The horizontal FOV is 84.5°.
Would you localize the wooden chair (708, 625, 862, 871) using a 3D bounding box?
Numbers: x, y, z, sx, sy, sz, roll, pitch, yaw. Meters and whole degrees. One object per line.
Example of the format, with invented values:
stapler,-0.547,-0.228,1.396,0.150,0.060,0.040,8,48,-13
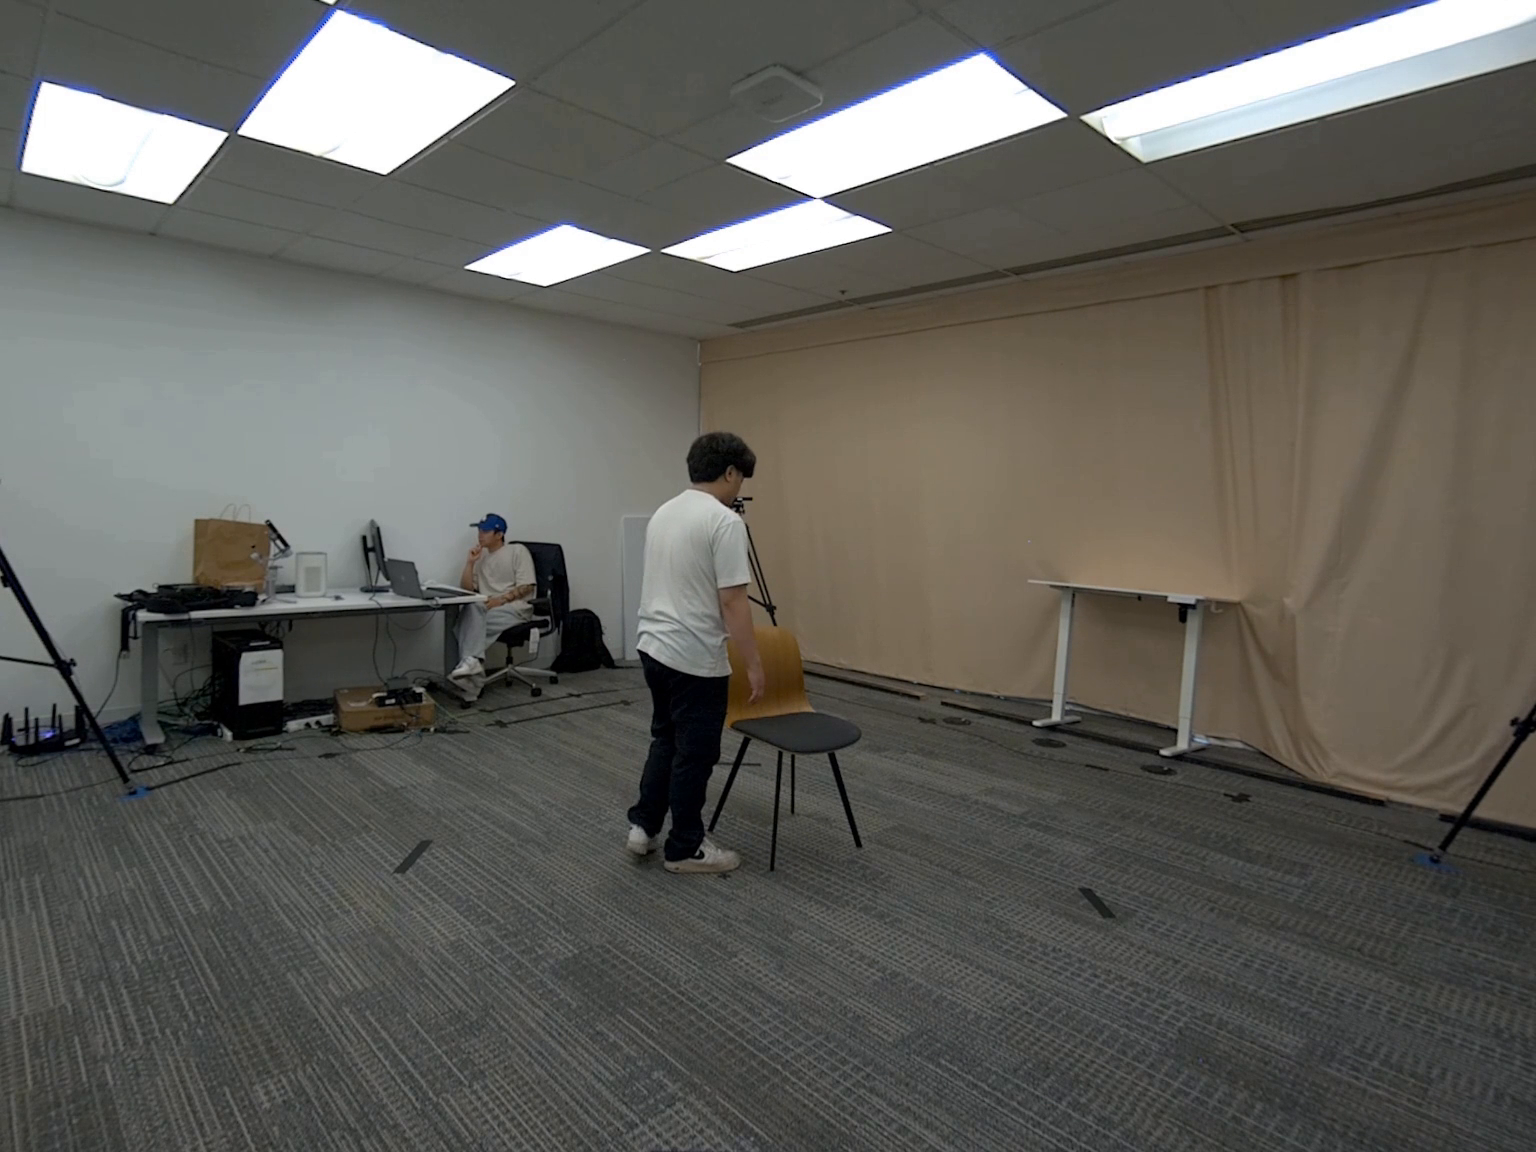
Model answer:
wooden chair,0.076,0.659,3.422,0.467,0.878,0.534,0,-1,-35
